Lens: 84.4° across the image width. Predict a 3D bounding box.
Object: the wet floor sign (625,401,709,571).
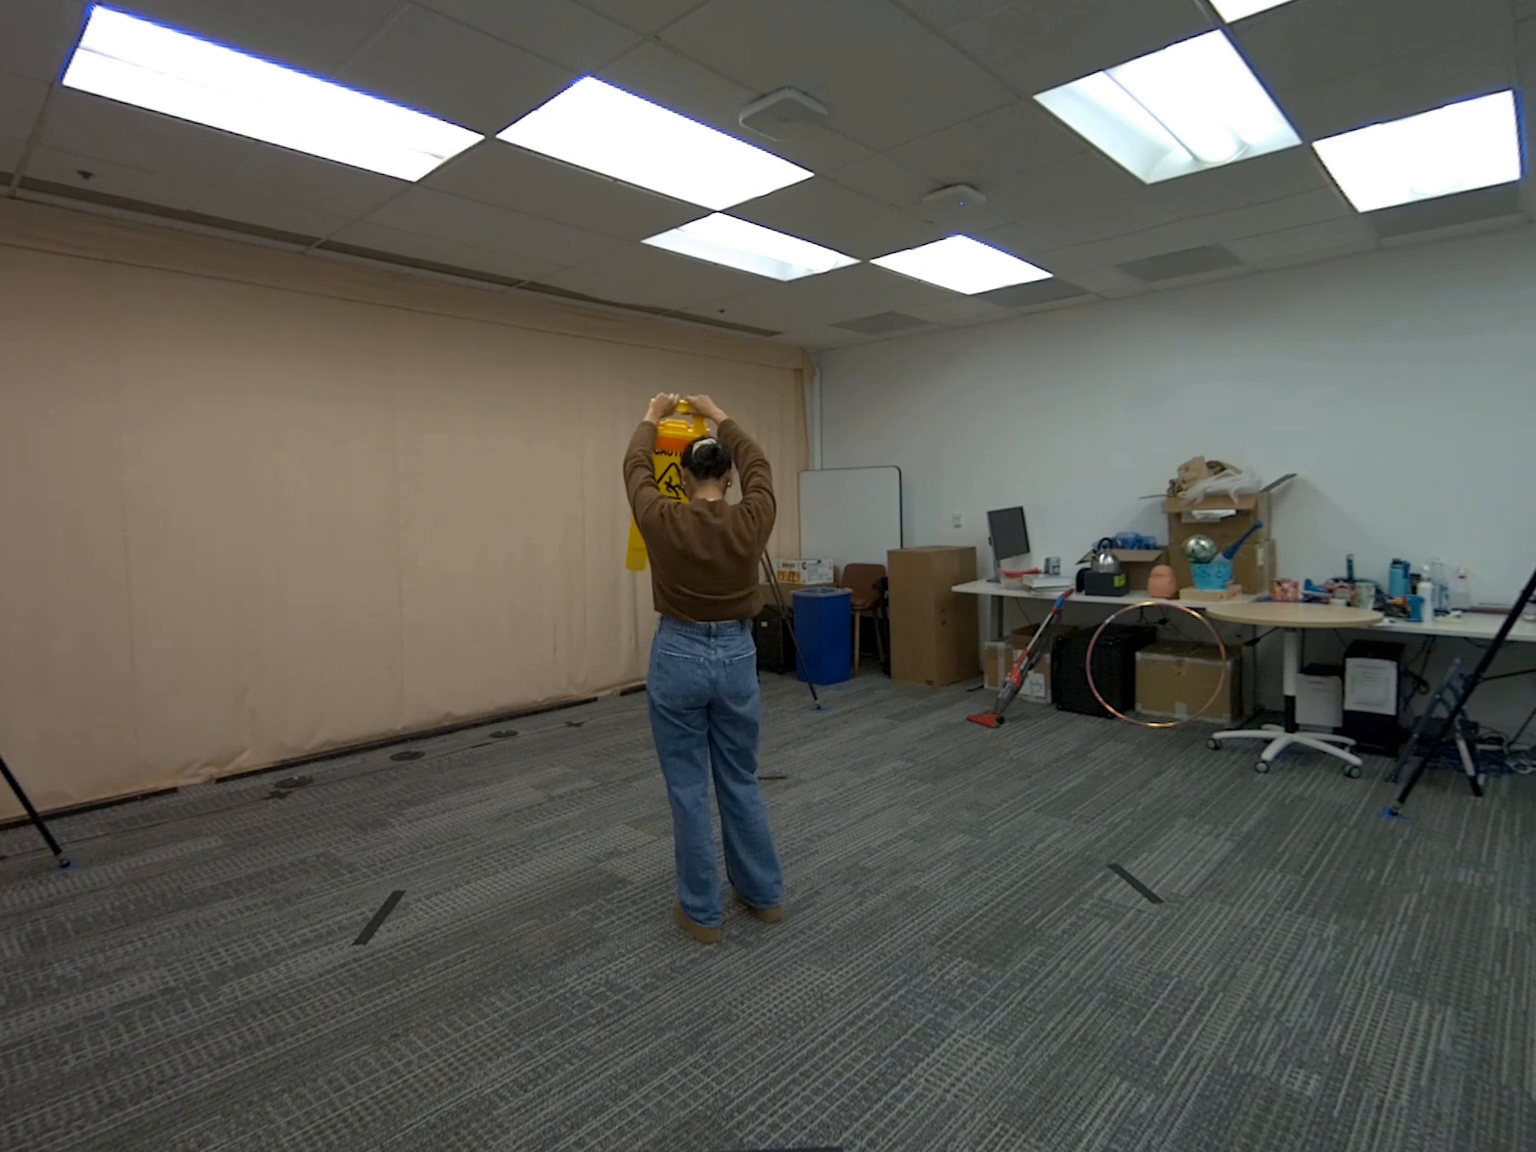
[{"bbox_3d":[-0.338,-0.347,3.124,0.281,0.638,0.295,6,35,-6],"label":"wet floor sign"}]
